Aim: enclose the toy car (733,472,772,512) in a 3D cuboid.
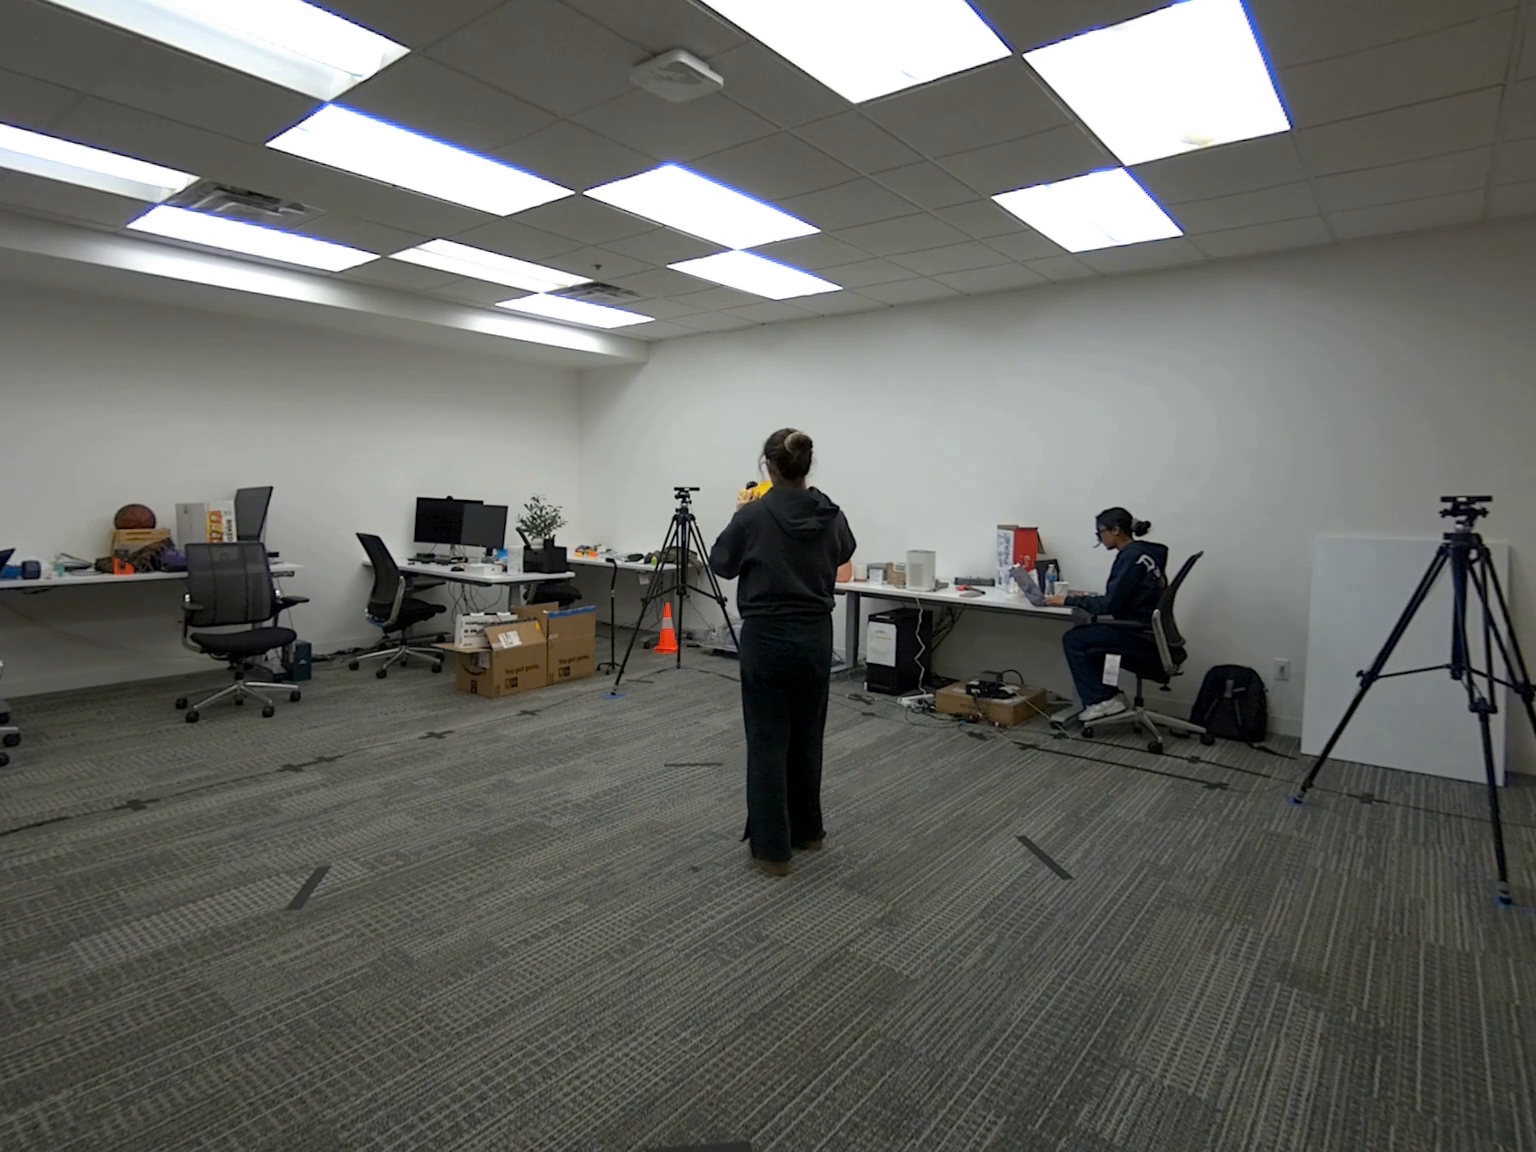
[{"bbox_3d":[-0.011,-0.336,3.419,0.258,0.134,0.080,-23,-45,22],"label":"toy car"}]
